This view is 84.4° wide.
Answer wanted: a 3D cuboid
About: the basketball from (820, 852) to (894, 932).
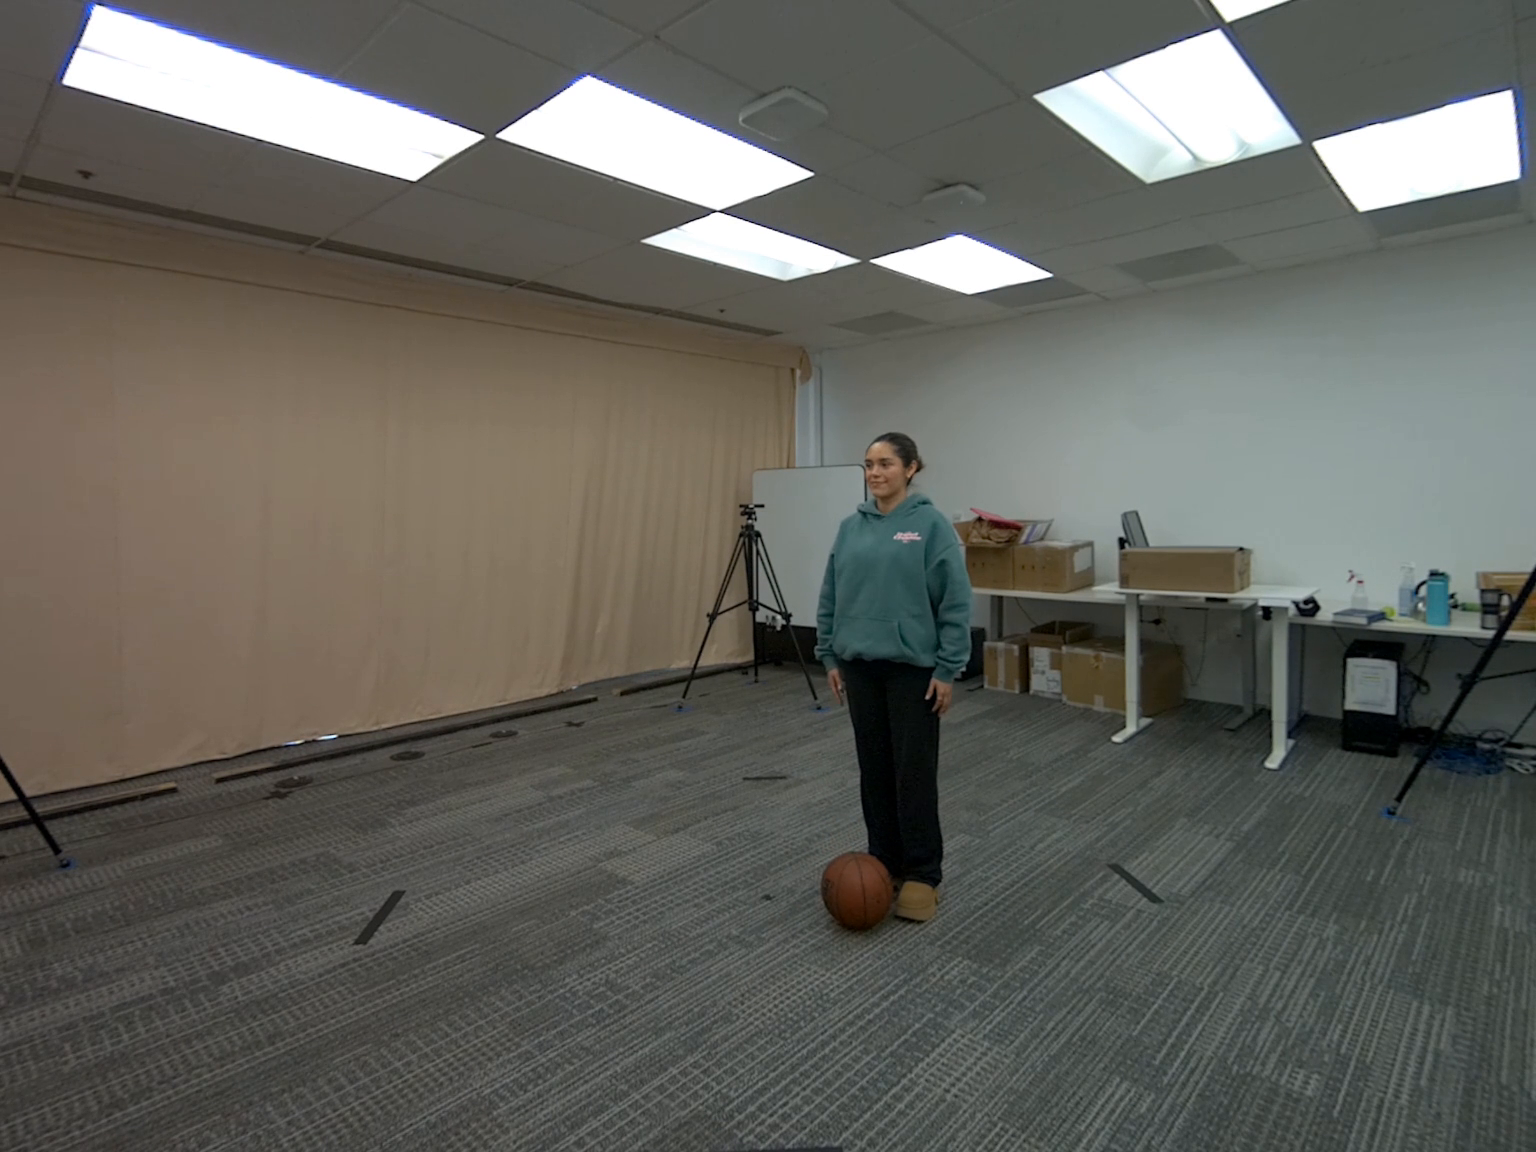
[{"bbox_3d":[0.300,1.034,2.781,0.236,0.235,0.237,-1,4,-2],"label":"basketball"}]
